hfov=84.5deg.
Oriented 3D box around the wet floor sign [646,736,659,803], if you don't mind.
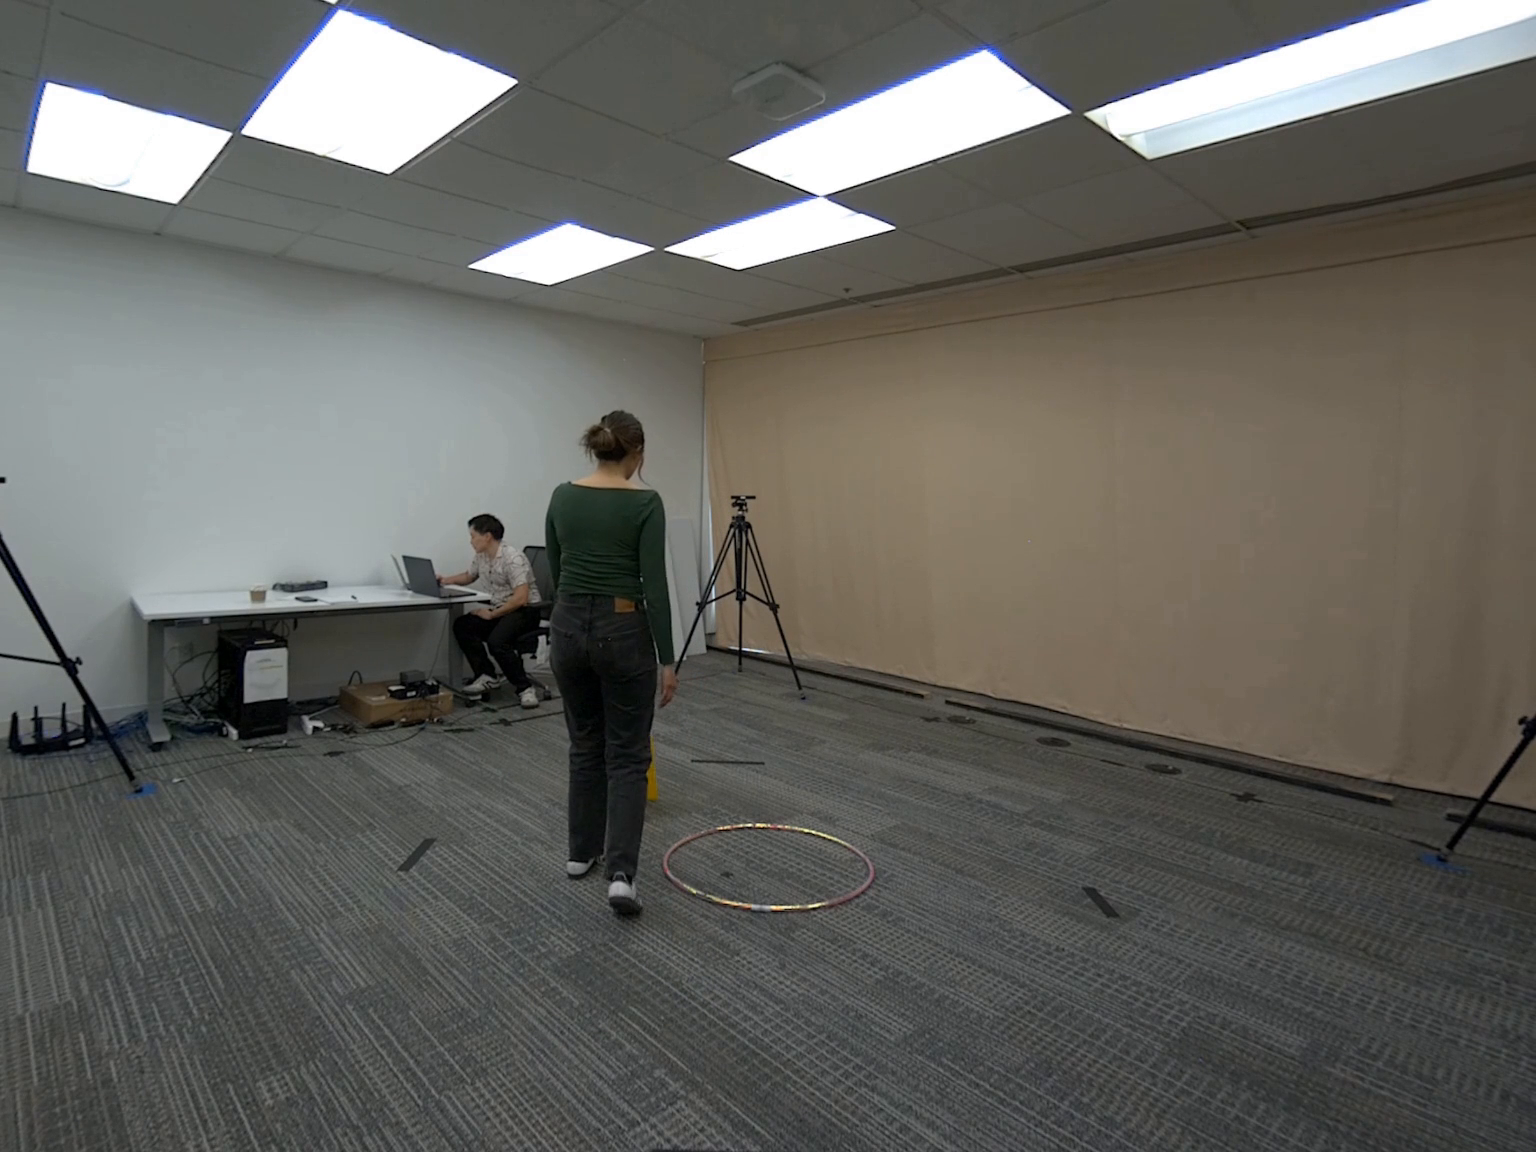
[{"bbox_3d":[-0.656,0.716,3.720,0.284,0.644,0.288,2,3,8],"label":"wet floor sign"}]
